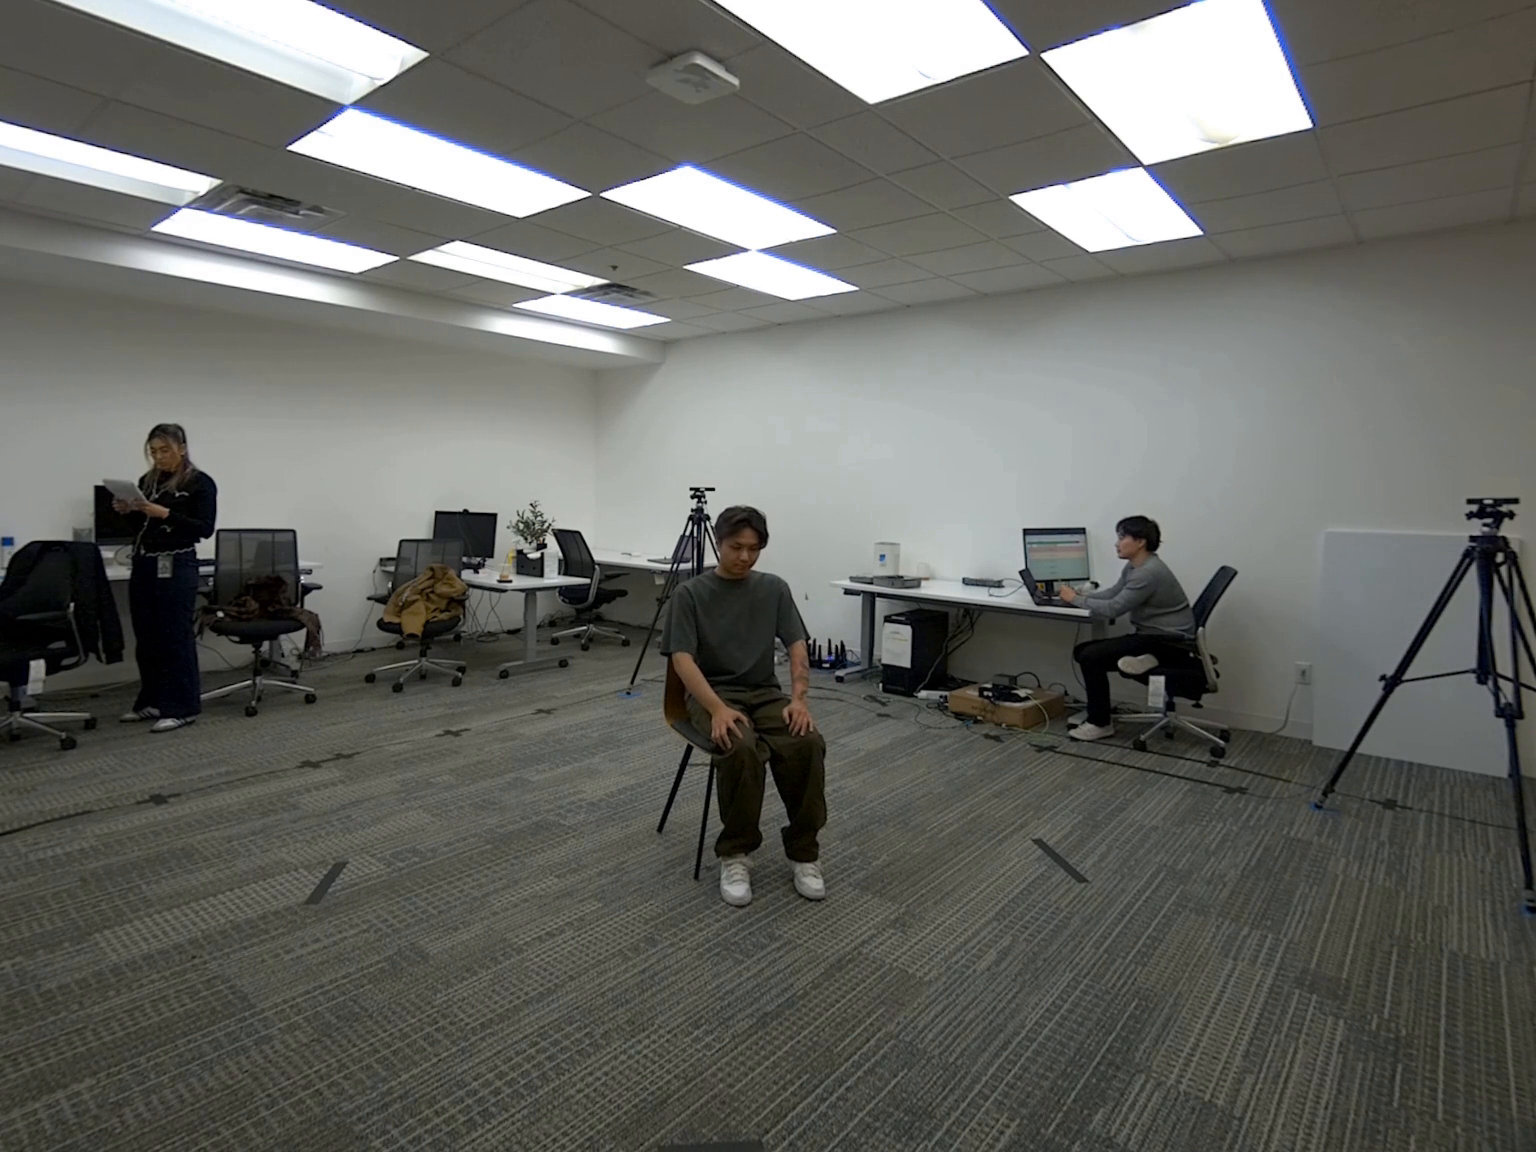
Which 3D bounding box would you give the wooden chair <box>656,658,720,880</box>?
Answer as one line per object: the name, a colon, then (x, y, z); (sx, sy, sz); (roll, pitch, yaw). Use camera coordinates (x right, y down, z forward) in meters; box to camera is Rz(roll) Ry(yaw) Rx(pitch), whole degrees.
wooden chair: (-0.149, 0.617, 3.276); (0.467, 0.878, 0.535); (0, -1, -24)
